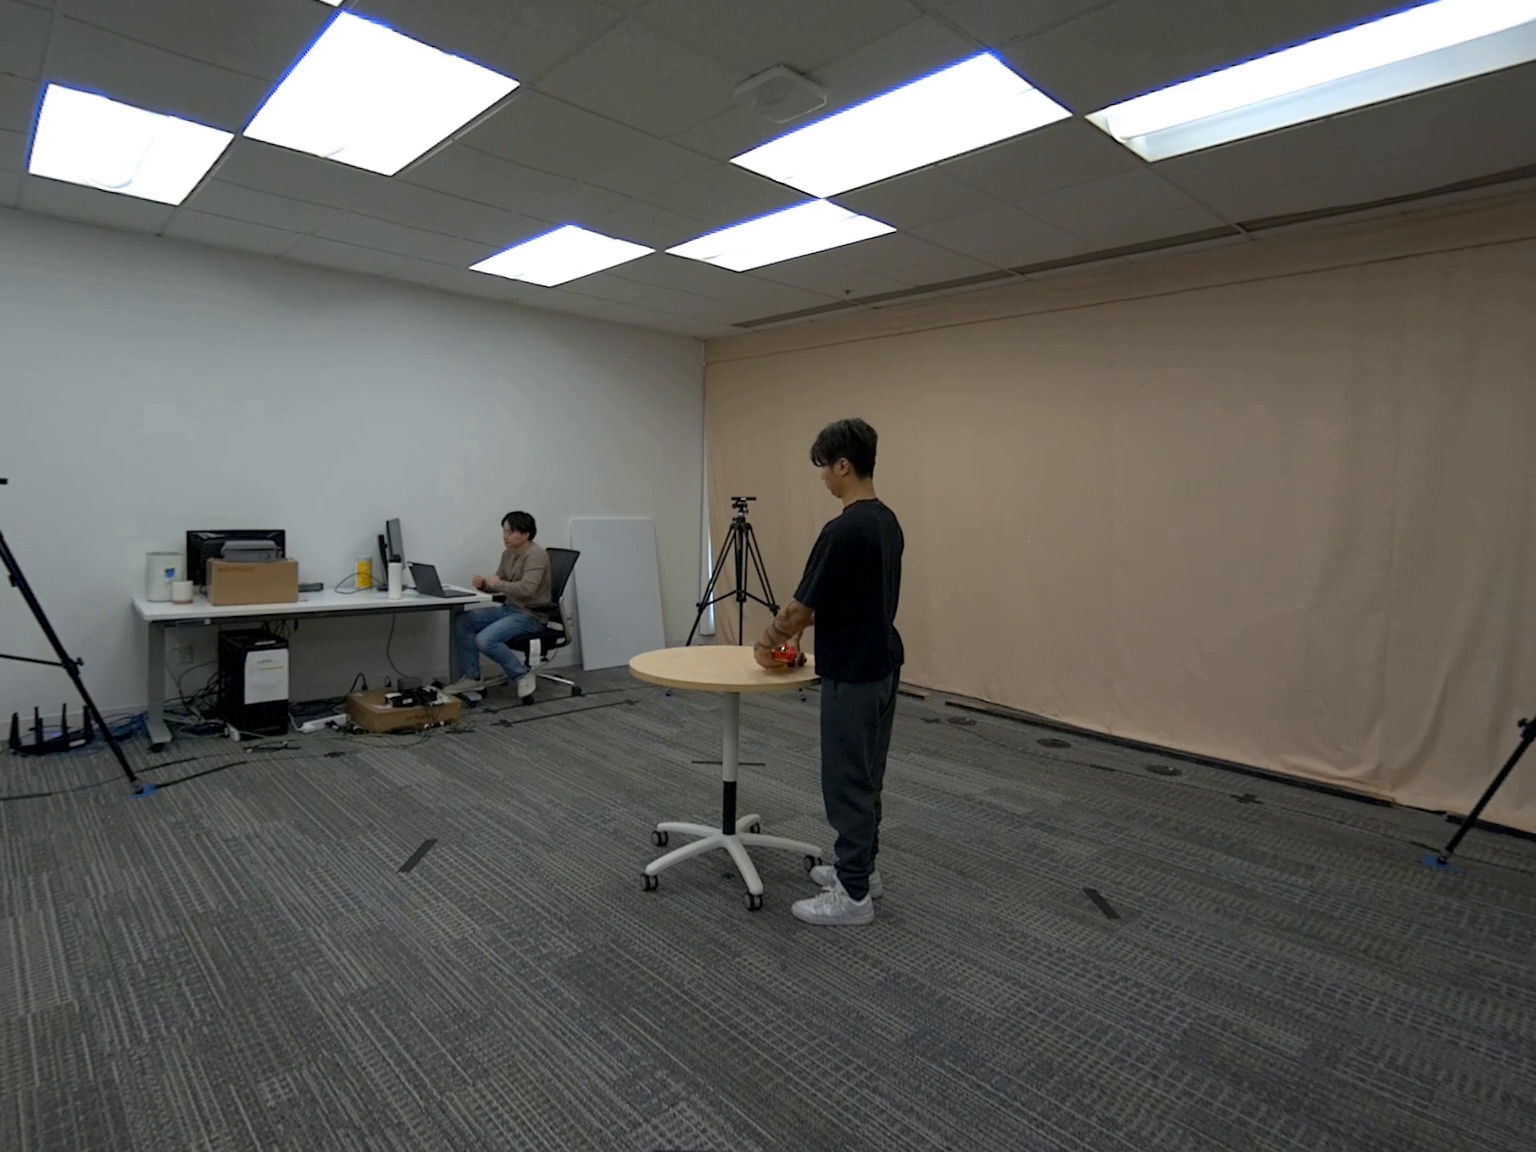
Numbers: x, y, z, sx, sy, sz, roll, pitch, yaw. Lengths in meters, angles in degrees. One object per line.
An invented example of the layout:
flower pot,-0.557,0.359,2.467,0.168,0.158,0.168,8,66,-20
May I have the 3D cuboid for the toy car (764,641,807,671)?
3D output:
toy car,0.049,0.294,3.030,0.132,0.084,0.250,5,-9,12
